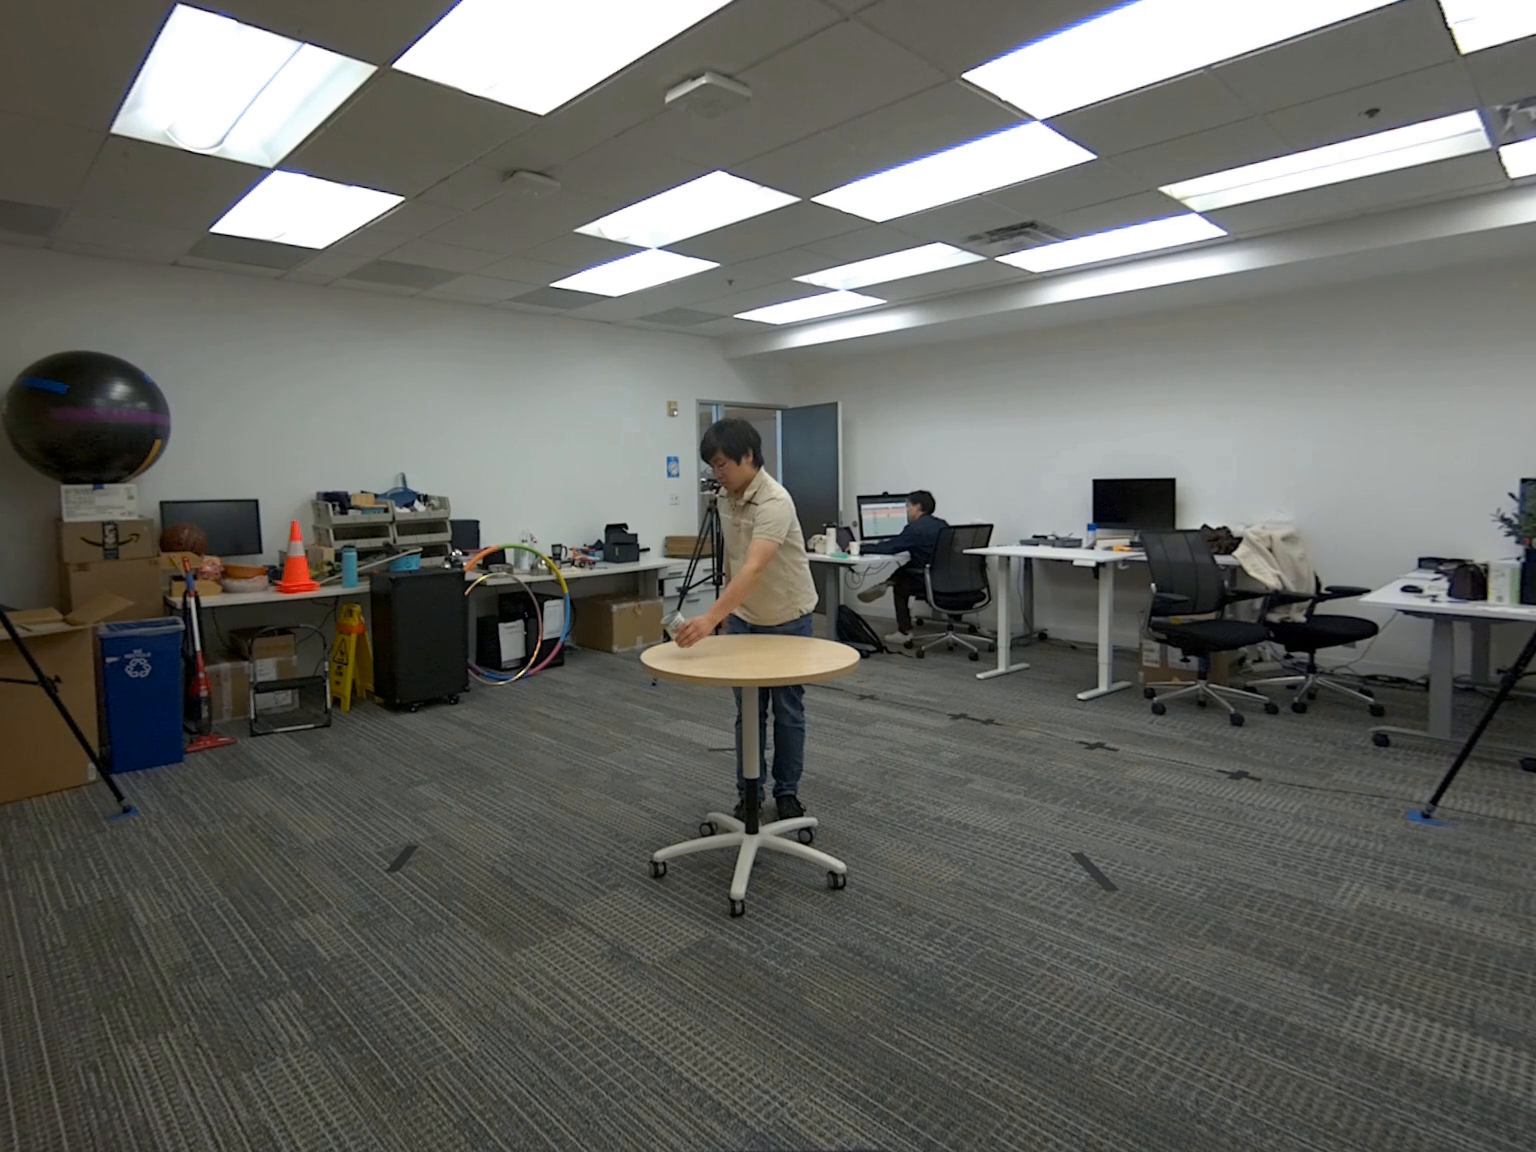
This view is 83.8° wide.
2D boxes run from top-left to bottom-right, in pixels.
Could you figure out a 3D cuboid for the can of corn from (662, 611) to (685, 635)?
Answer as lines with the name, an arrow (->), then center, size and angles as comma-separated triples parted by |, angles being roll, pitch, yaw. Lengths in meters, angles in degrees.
can of corn -> -0.292, 0.178, 2.928 | 0.074, 0.109, 0.075 | -29, 16, 8
